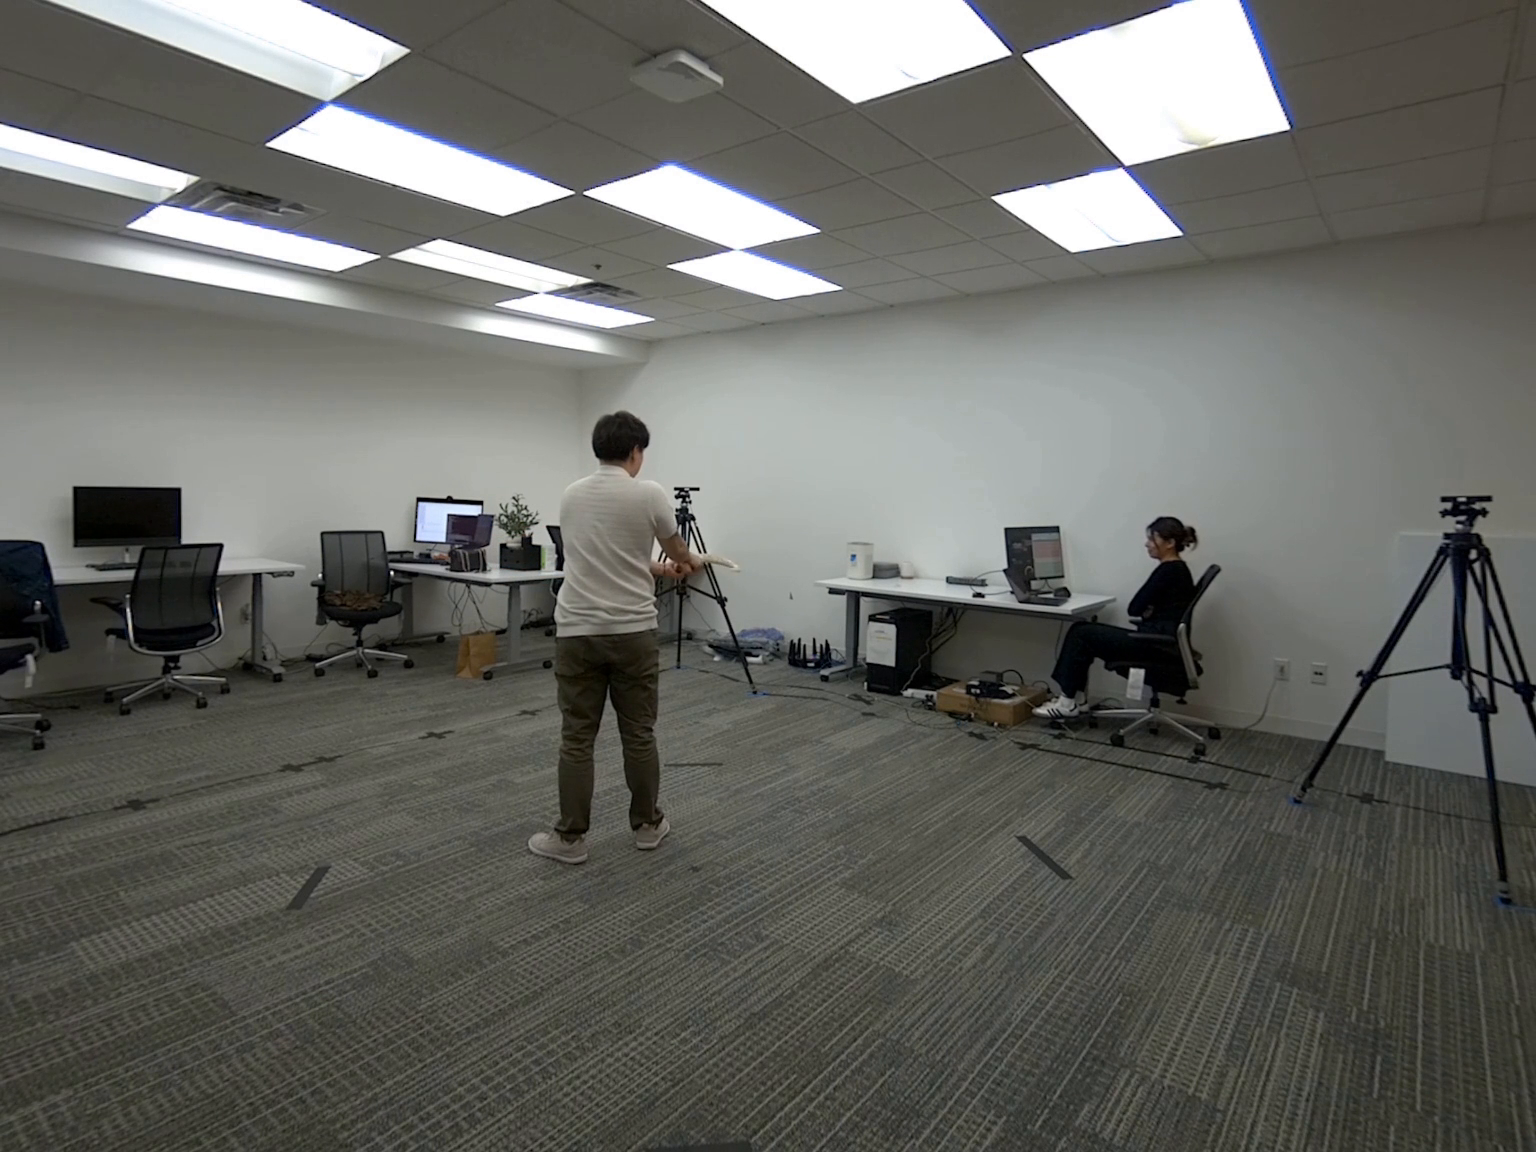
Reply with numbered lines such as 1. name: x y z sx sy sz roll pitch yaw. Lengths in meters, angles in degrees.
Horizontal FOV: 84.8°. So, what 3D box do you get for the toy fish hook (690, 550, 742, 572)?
1. toy fish hook: -0.261 -0.046 3.710 0.228 0.048 0.502 10 11 12
